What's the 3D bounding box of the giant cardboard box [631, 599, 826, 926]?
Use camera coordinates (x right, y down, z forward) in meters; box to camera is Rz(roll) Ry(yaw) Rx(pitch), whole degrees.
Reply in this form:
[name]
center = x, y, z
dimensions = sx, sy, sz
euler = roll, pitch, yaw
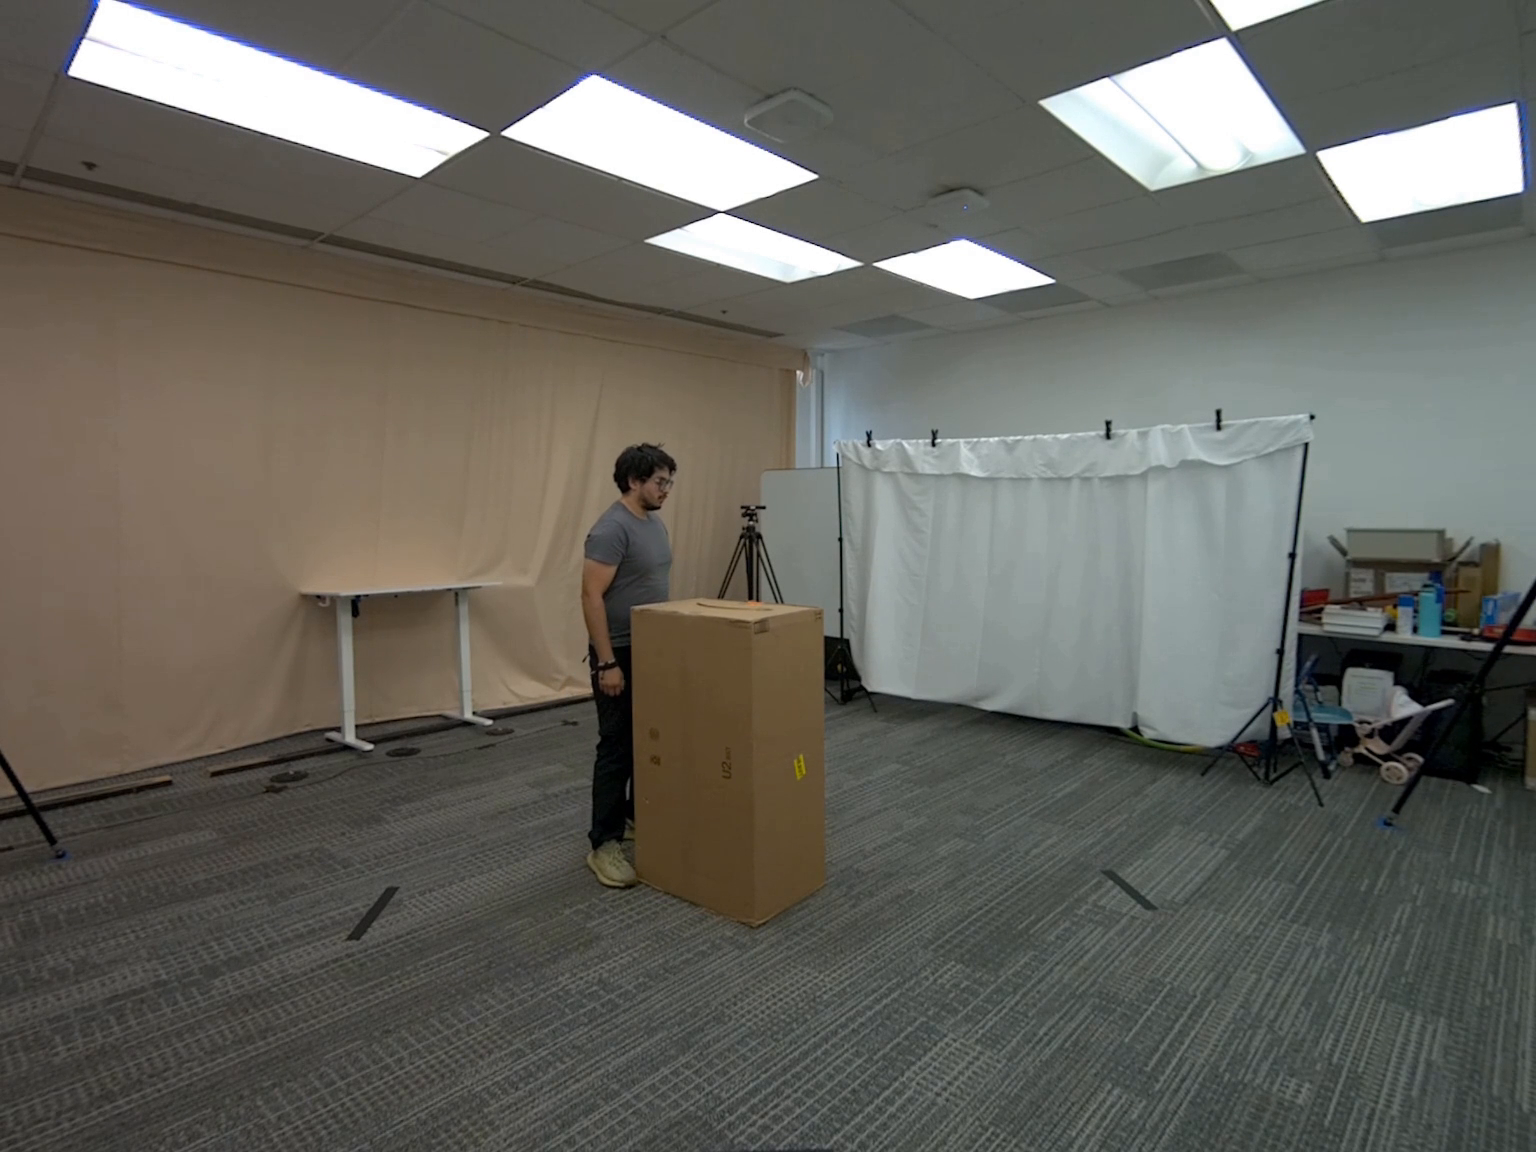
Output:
[giant cardboard box]
center = -0.140, 0.630, 3.090
dimensions = 0.603, 1.025, 0.434
euler = 2, 4, 38
